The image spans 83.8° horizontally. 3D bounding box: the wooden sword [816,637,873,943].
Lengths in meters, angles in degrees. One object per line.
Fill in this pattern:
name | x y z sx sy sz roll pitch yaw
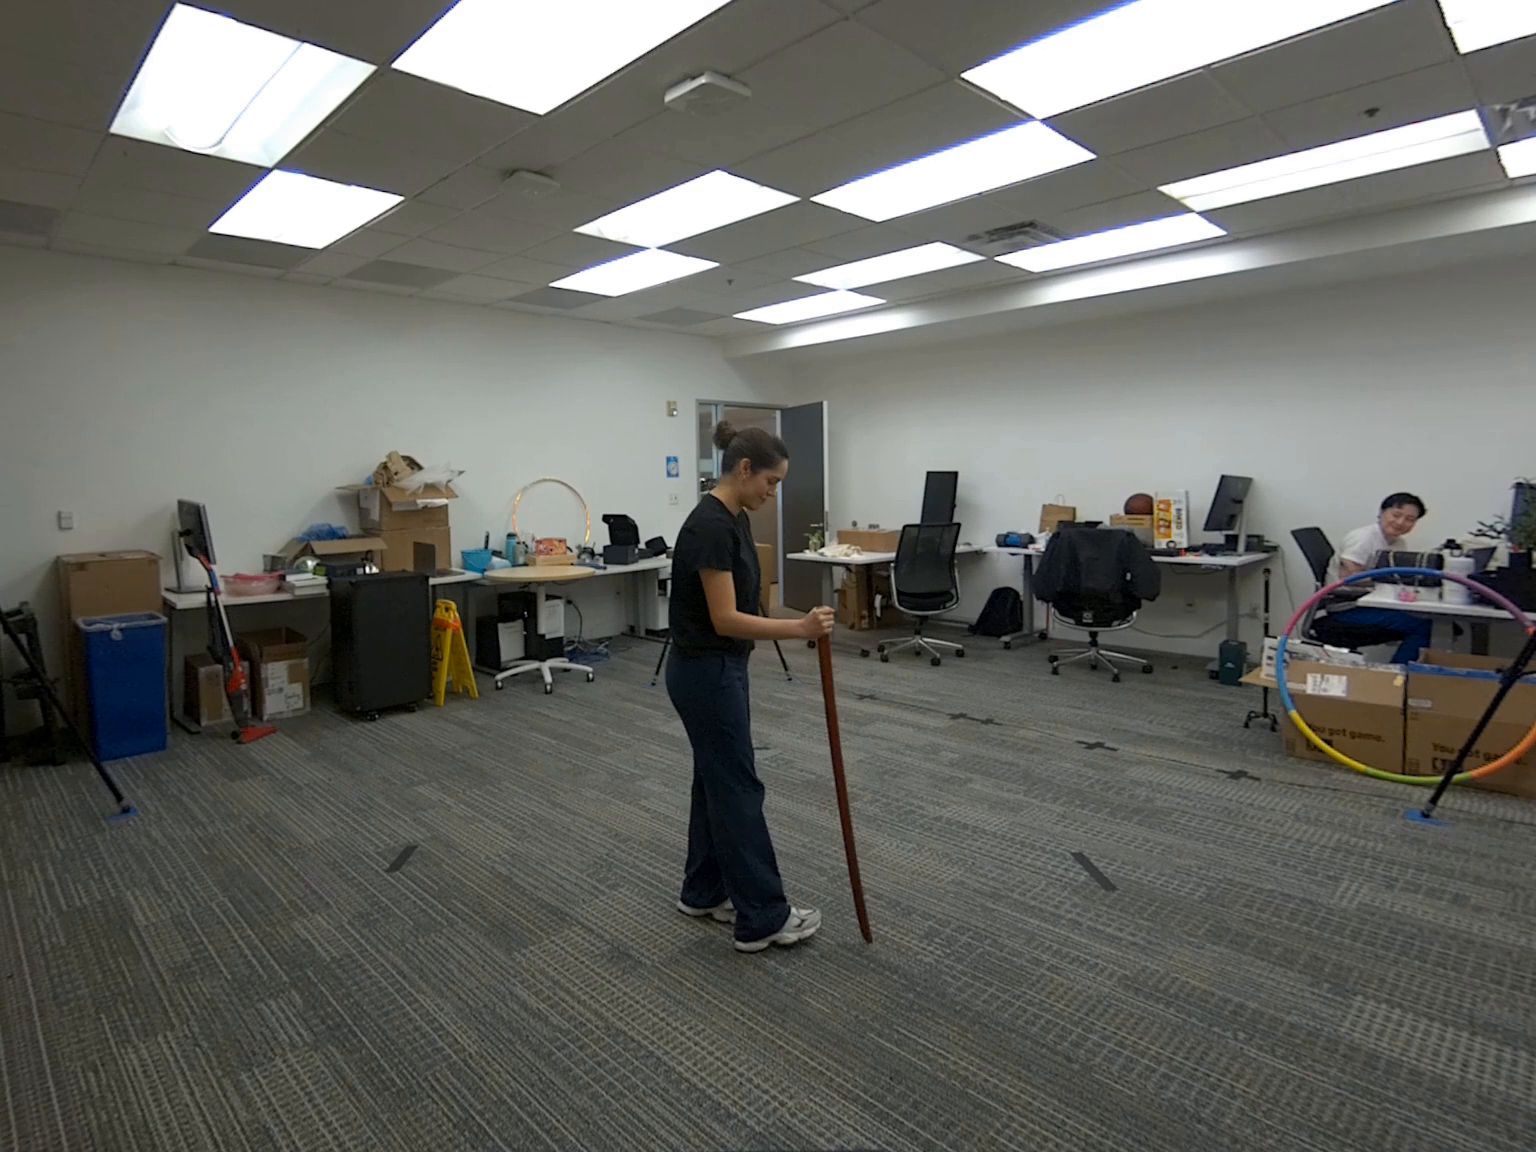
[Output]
wooden sword | 0.208 0.593 2.521 0.050 1.019 0.024 -12 5 -18
